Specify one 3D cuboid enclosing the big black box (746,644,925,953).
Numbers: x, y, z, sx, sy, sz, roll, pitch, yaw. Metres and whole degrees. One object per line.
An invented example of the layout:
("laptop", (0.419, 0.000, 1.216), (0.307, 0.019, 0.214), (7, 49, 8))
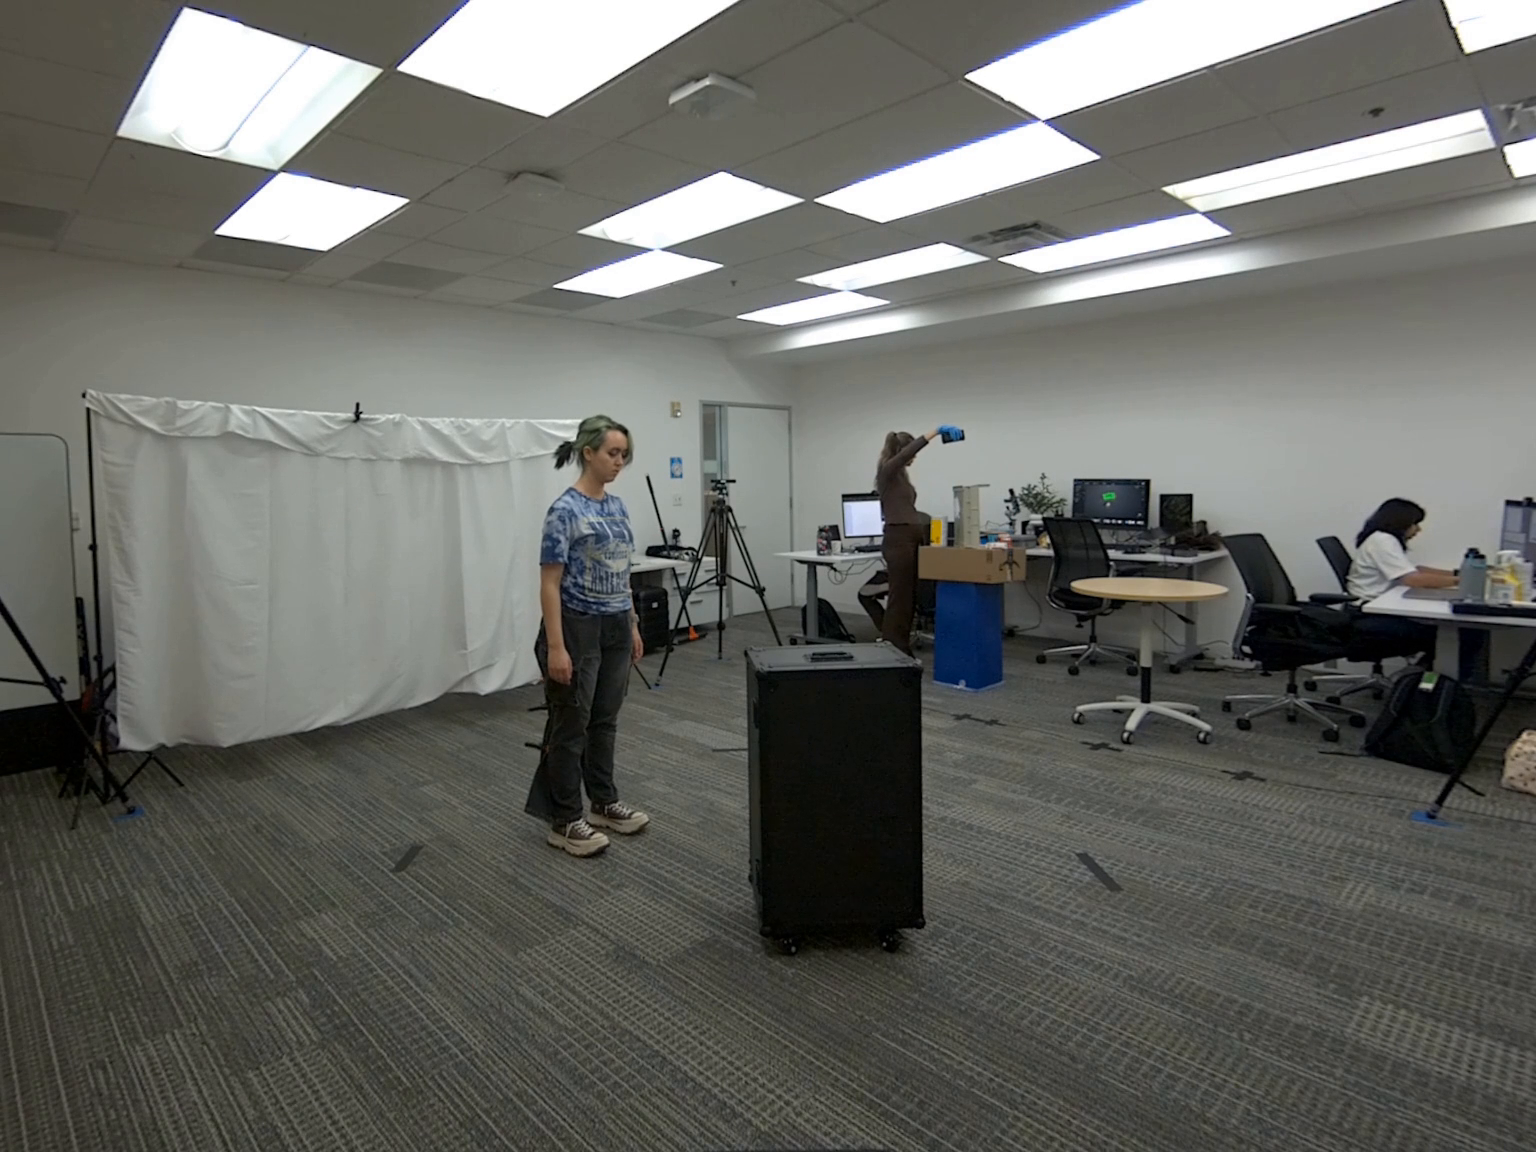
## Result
("big black box", (0.191, 0.668, 2.653), (0.519, 0.859, 0.399), (-2, 3, -4))
